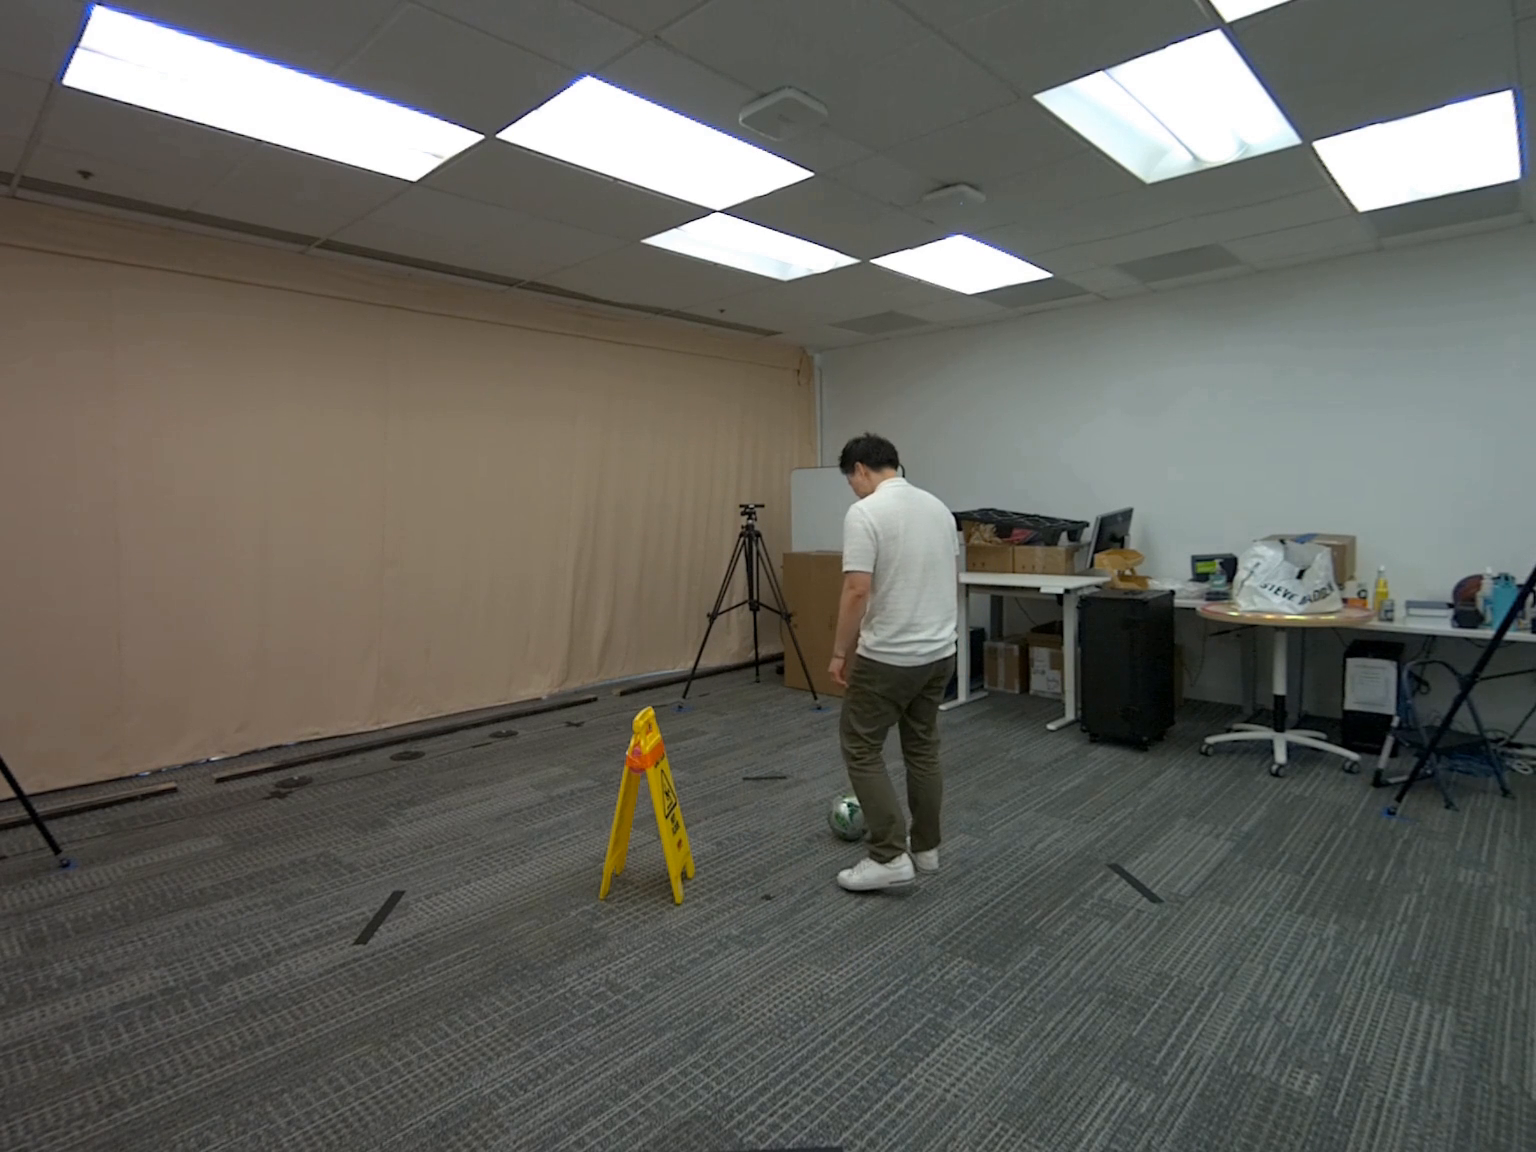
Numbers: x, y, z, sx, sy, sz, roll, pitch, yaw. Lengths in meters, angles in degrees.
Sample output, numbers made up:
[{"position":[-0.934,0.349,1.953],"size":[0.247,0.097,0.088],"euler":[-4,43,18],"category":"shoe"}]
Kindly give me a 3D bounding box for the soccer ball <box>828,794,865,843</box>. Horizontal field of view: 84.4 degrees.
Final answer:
[{"position":[0.338,0.994,3.490],"size":[0.187,0.187,0.188],"euler":[-1,4,-2],"category":"soccer ball"}]
